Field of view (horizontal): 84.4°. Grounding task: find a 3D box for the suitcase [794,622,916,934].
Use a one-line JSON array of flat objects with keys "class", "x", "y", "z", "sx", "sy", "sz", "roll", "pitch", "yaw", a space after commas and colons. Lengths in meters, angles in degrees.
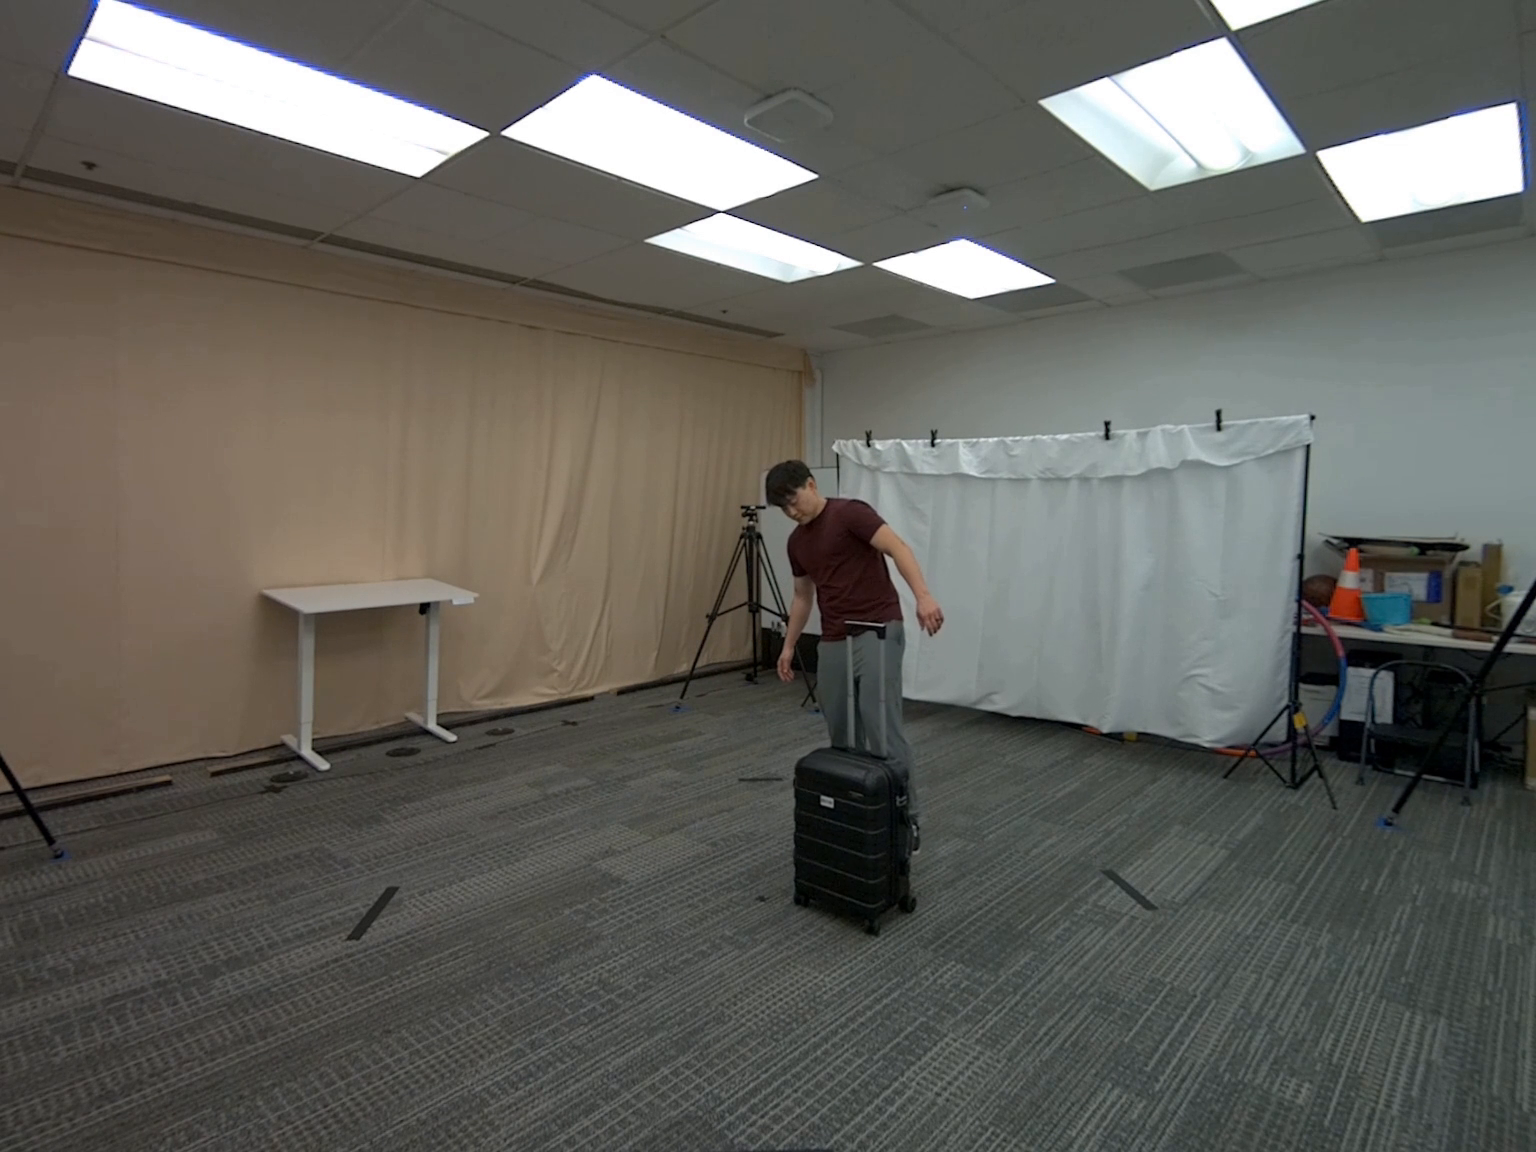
[{"class": "suitcase", "x": 0.289, "y": 0.677, "z": 2.862, "sx": 0.397, "sy": 0.975, "sz": 0.249, "roll": 3, "pitch": 7, "yaw": 43}]
